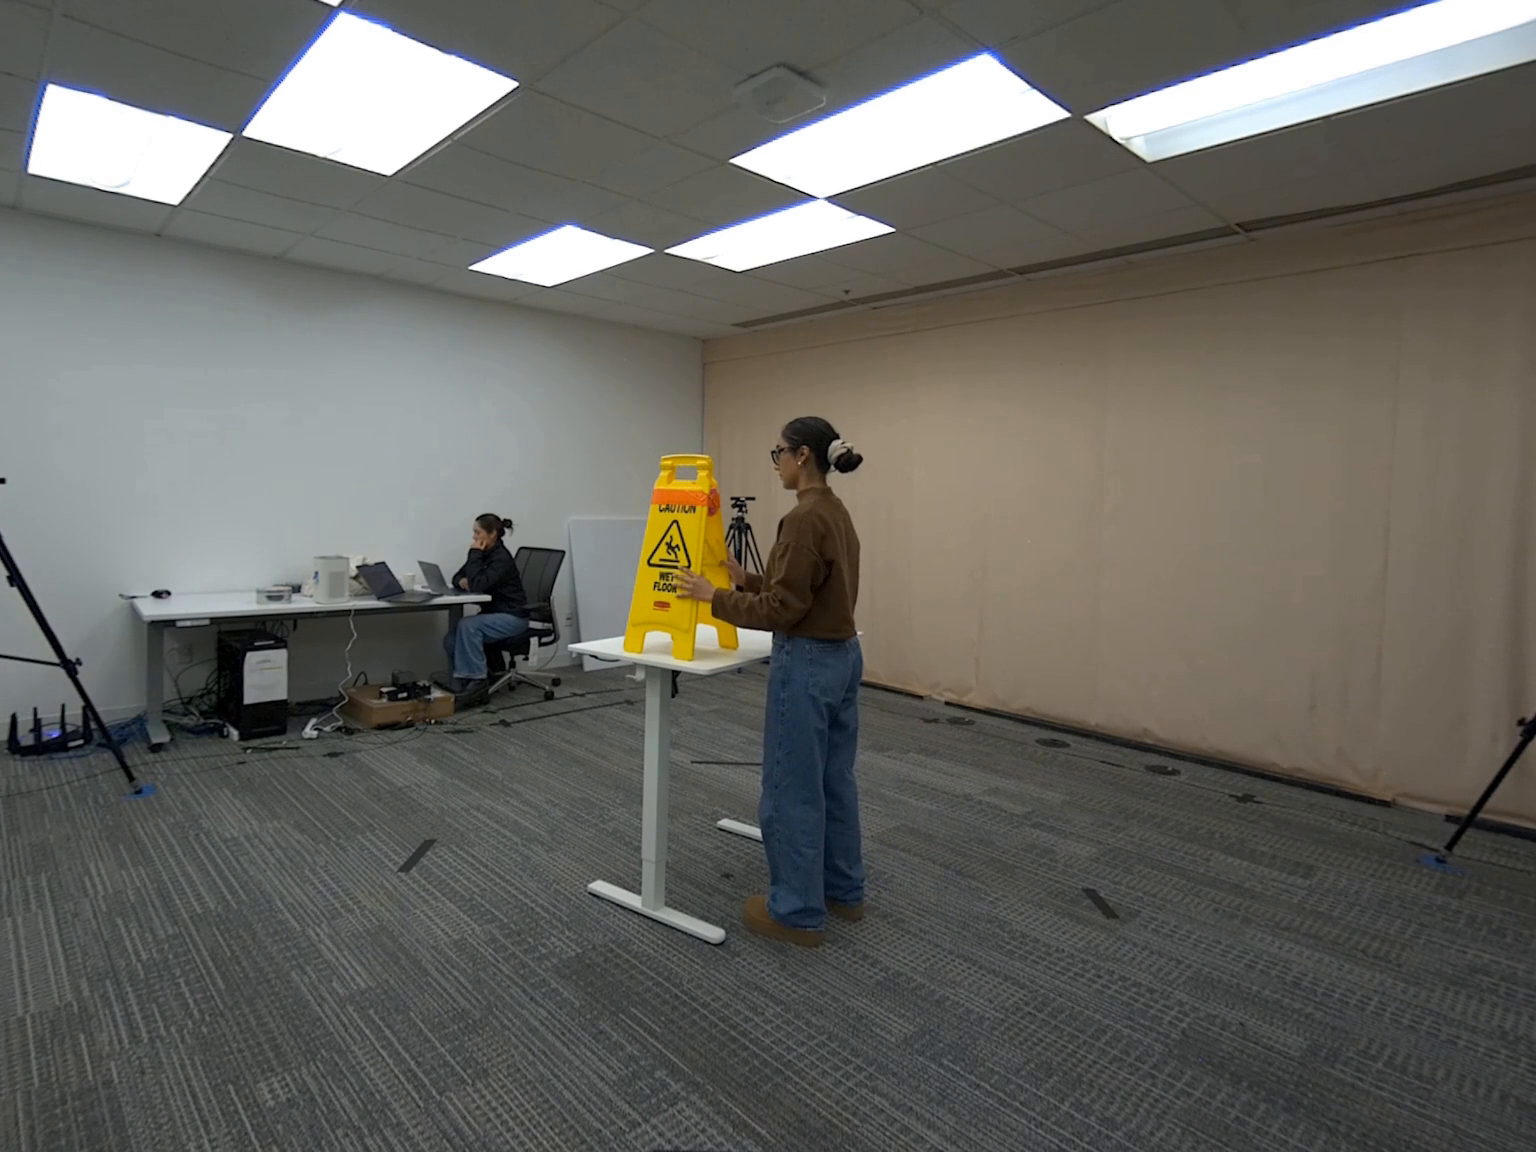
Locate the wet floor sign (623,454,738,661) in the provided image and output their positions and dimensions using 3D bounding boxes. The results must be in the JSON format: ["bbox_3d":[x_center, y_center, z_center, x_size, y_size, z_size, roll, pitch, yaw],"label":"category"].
[{"bbox_3d":[-0.280,-0.073,2.790,0.288,0.645,0.284,2,3,30],"label":"wet floor sign"}]
